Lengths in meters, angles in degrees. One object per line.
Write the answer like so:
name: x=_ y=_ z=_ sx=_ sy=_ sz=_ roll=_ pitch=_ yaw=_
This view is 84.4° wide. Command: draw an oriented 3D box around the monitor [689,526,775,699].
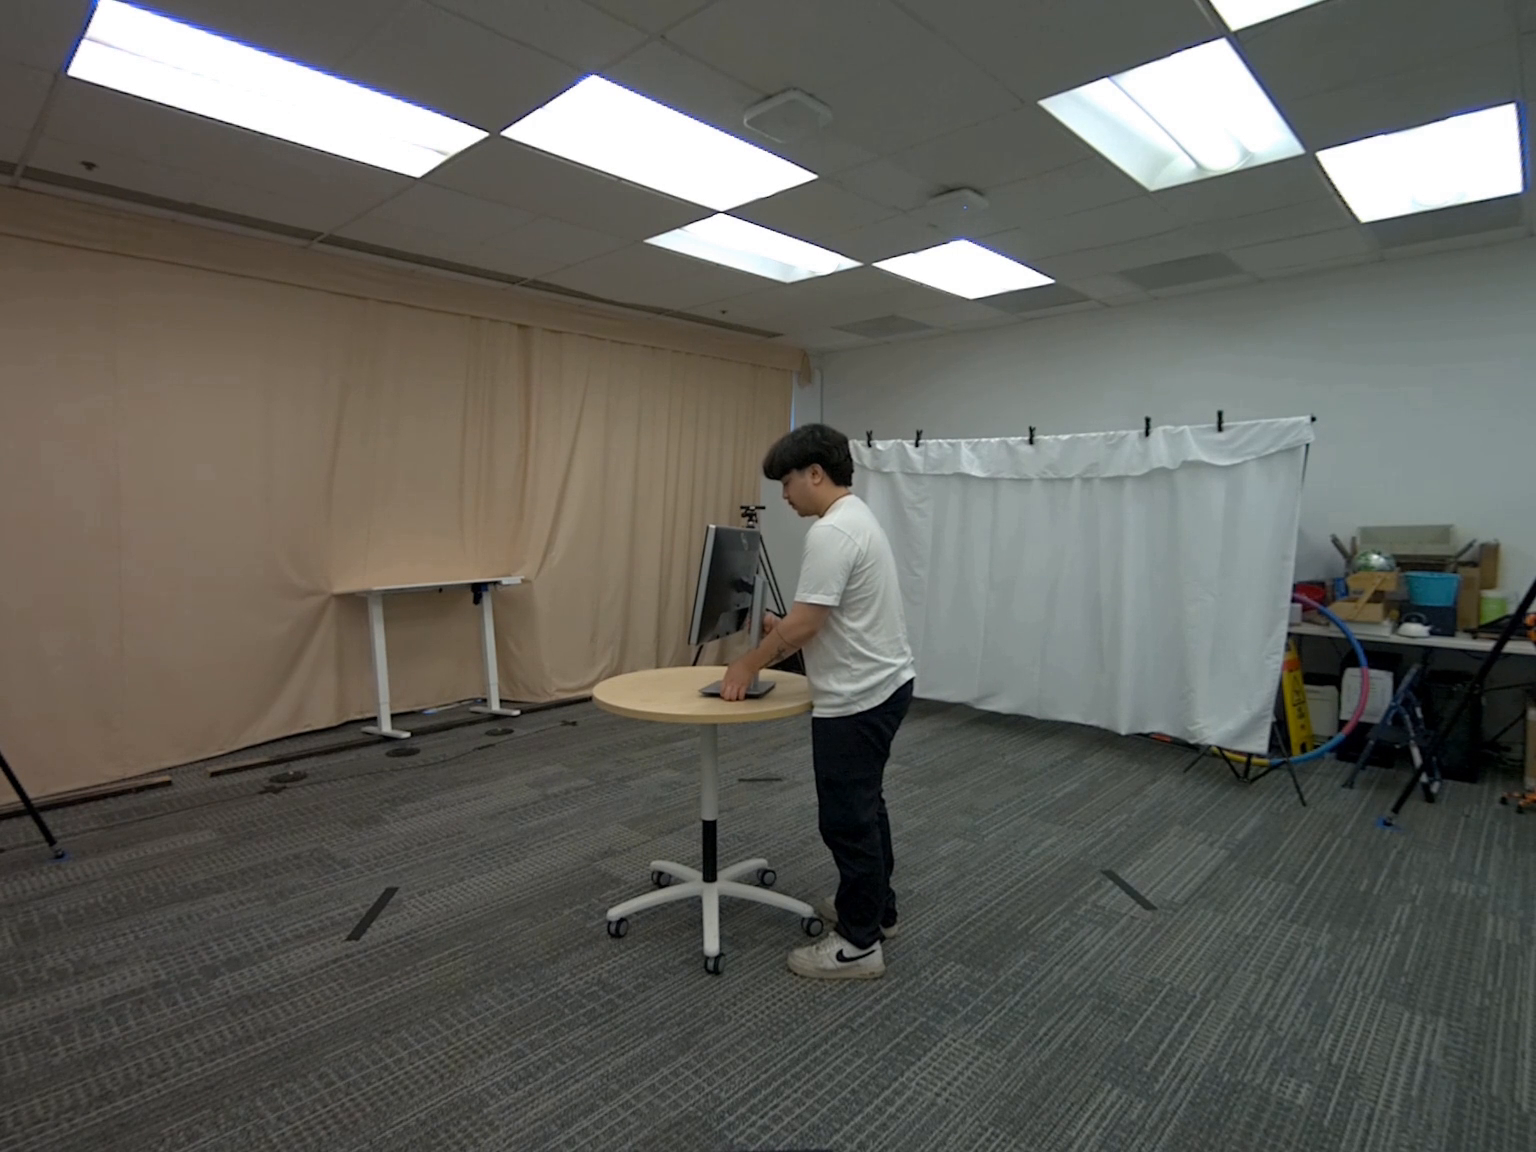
monitor: x=-0.070 y=0.115 z=2.720 sx=0.214 sy=0.553 sz=0.556 roll=5 pitch=2 yaw=14
